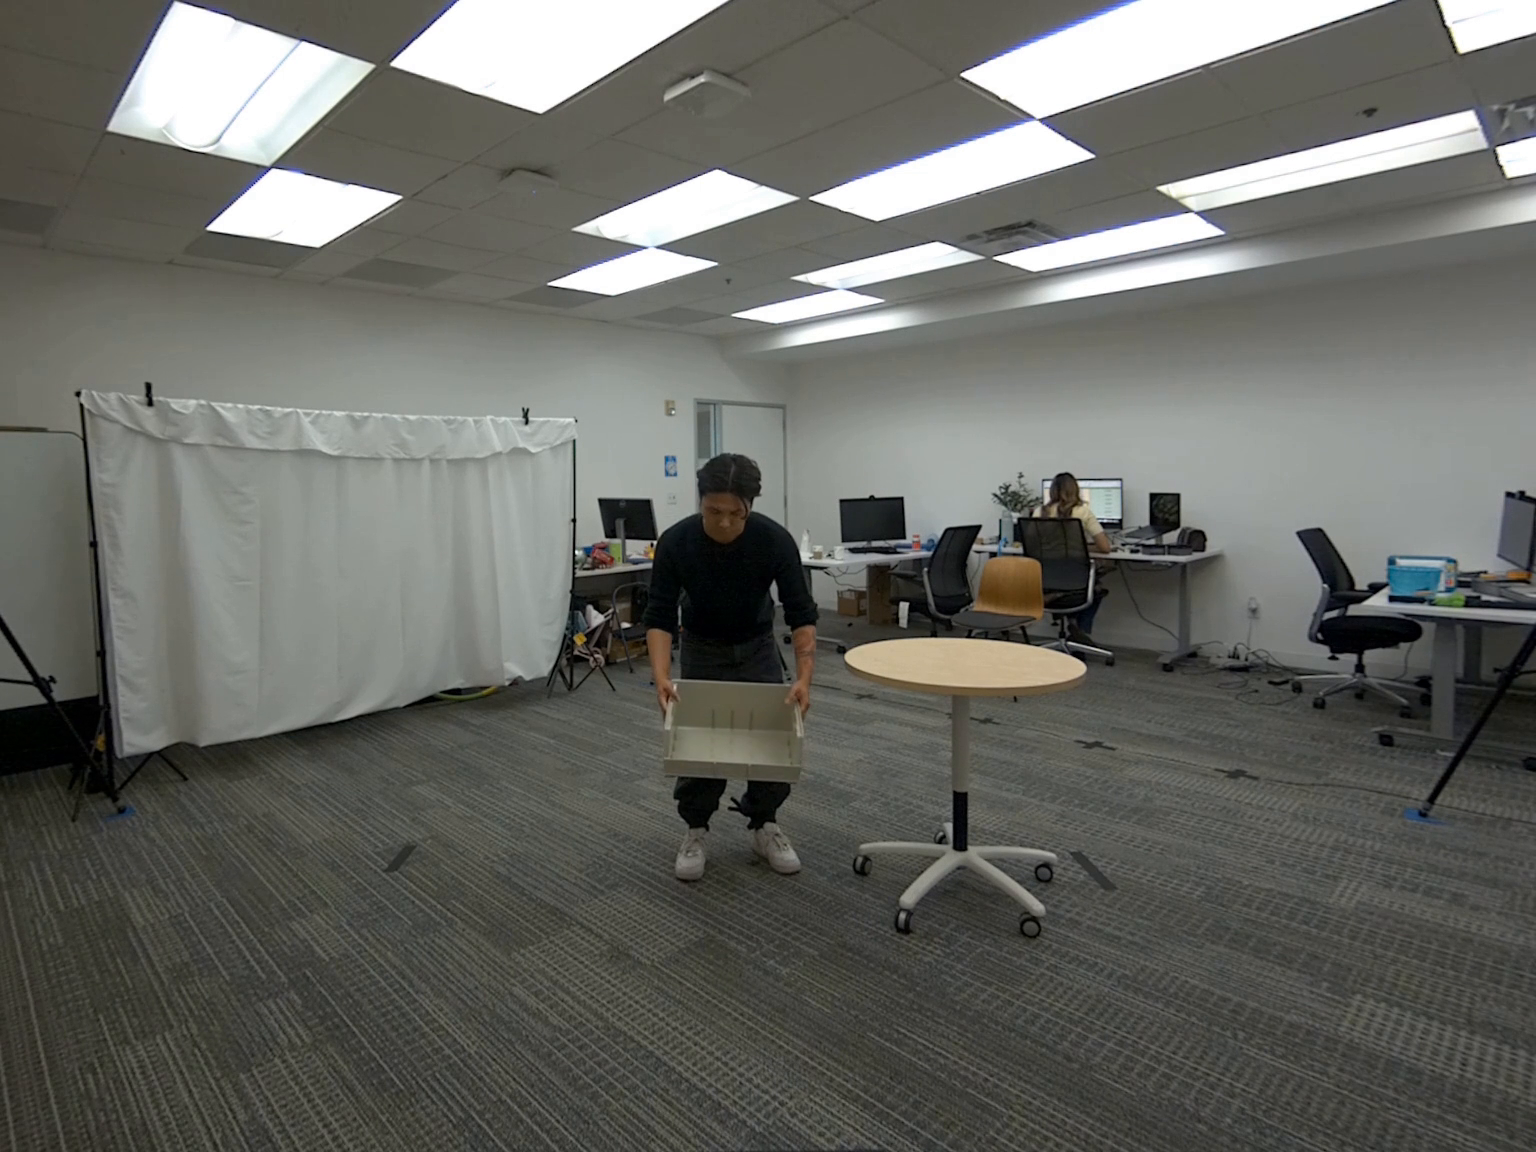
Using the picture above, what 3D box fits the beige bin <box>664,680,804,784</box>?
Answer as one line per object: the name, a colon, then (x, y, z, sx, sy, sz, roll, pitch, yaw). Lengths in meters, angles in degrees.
beige bin: (-0.111, 0.499, 2.725, 0.422, 0.186, 0.382, -2, 15, -1)
